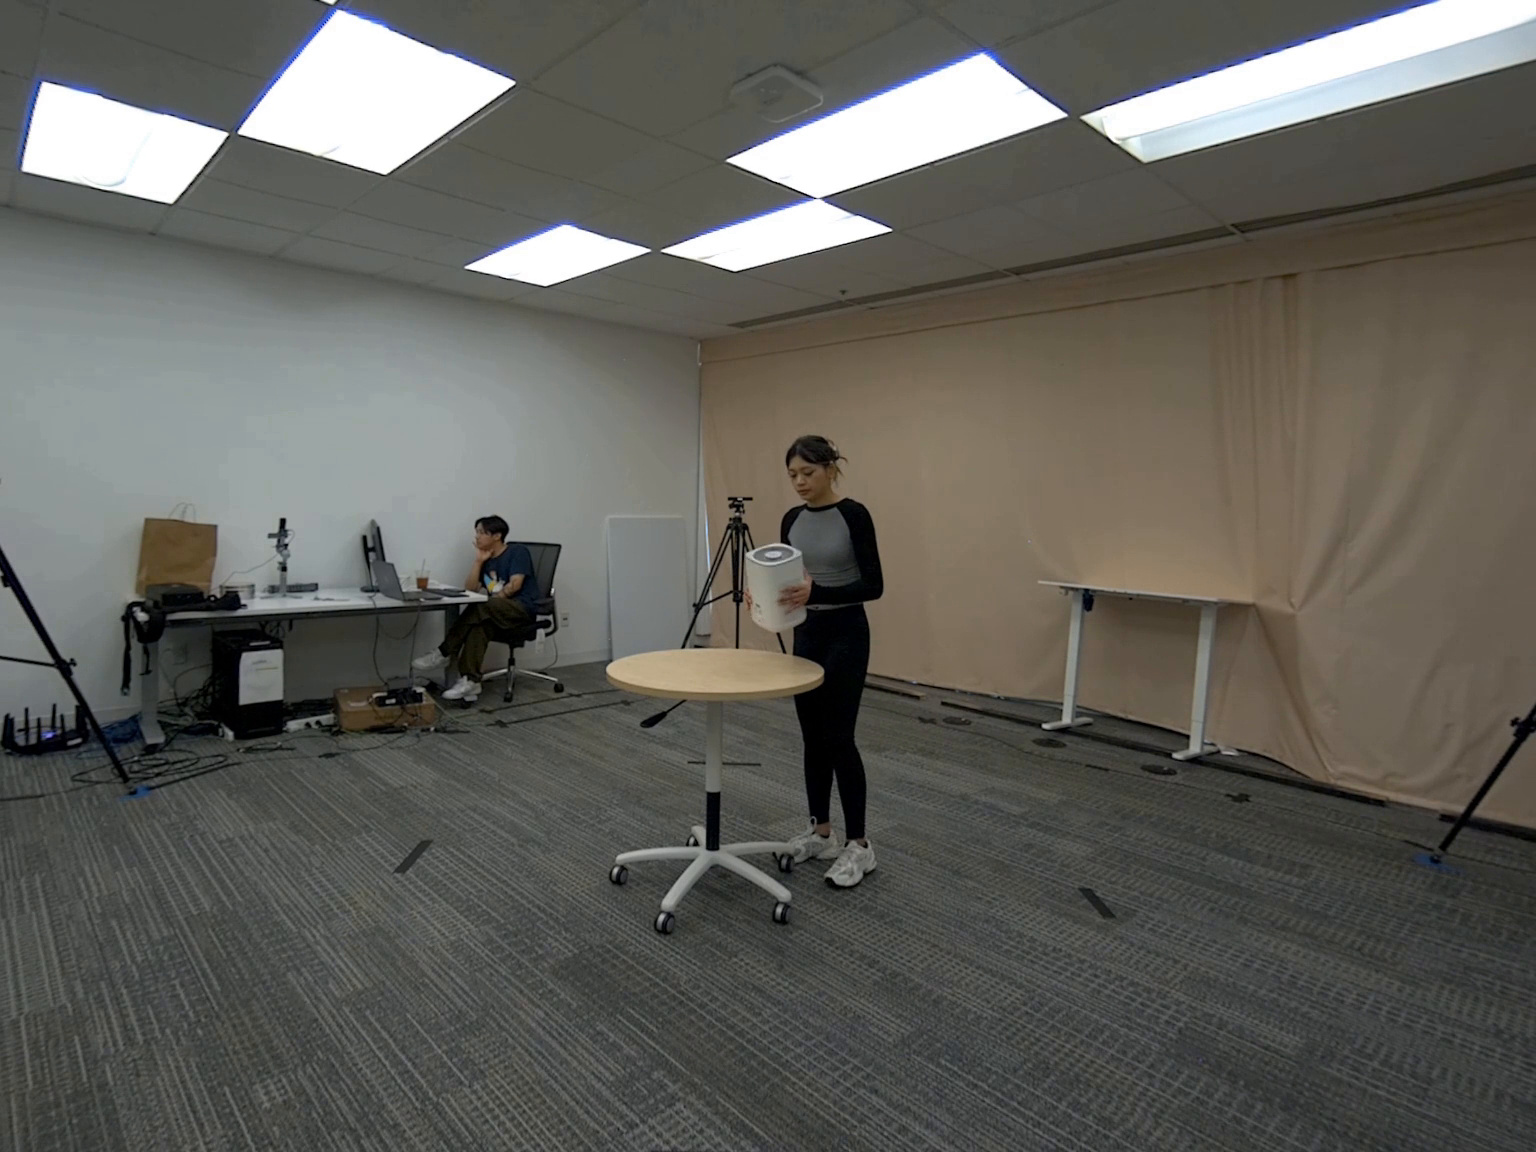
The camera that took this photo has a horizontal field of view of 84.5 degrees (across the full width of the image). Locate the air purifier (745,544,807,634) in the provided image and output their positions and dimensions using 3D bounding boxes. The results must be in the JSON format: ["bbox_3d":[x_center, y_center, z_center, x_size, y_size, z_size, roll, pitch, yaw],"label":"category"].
[{"bbox_3d":[0.023,0.049,2.962,0.169,0.261,0.176,-22,26,-35],"label":"air purifier"}]
